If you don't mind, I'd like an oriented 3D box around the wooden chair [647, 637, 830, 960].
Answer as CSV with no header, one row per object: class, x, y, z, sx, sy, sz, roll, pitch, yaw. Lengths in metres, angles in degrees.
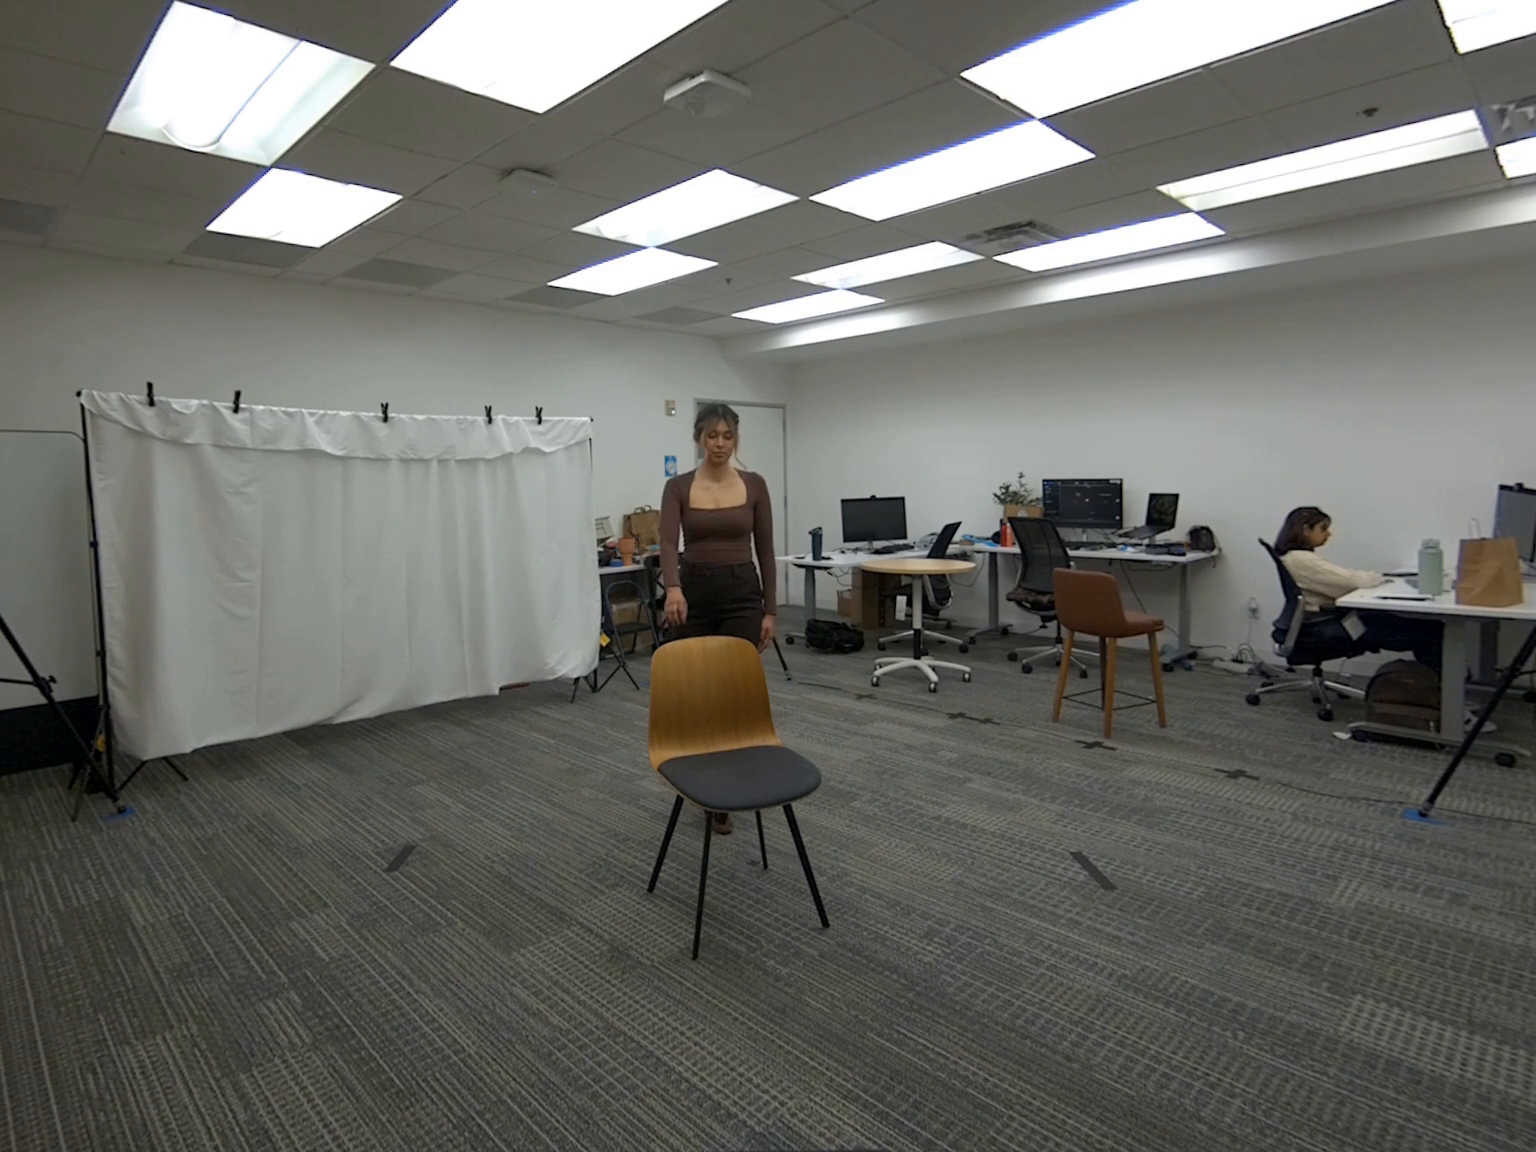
wooden chair,-0.114,0.665,2.731,0.468,0.877,0.534,-2,0,-24
